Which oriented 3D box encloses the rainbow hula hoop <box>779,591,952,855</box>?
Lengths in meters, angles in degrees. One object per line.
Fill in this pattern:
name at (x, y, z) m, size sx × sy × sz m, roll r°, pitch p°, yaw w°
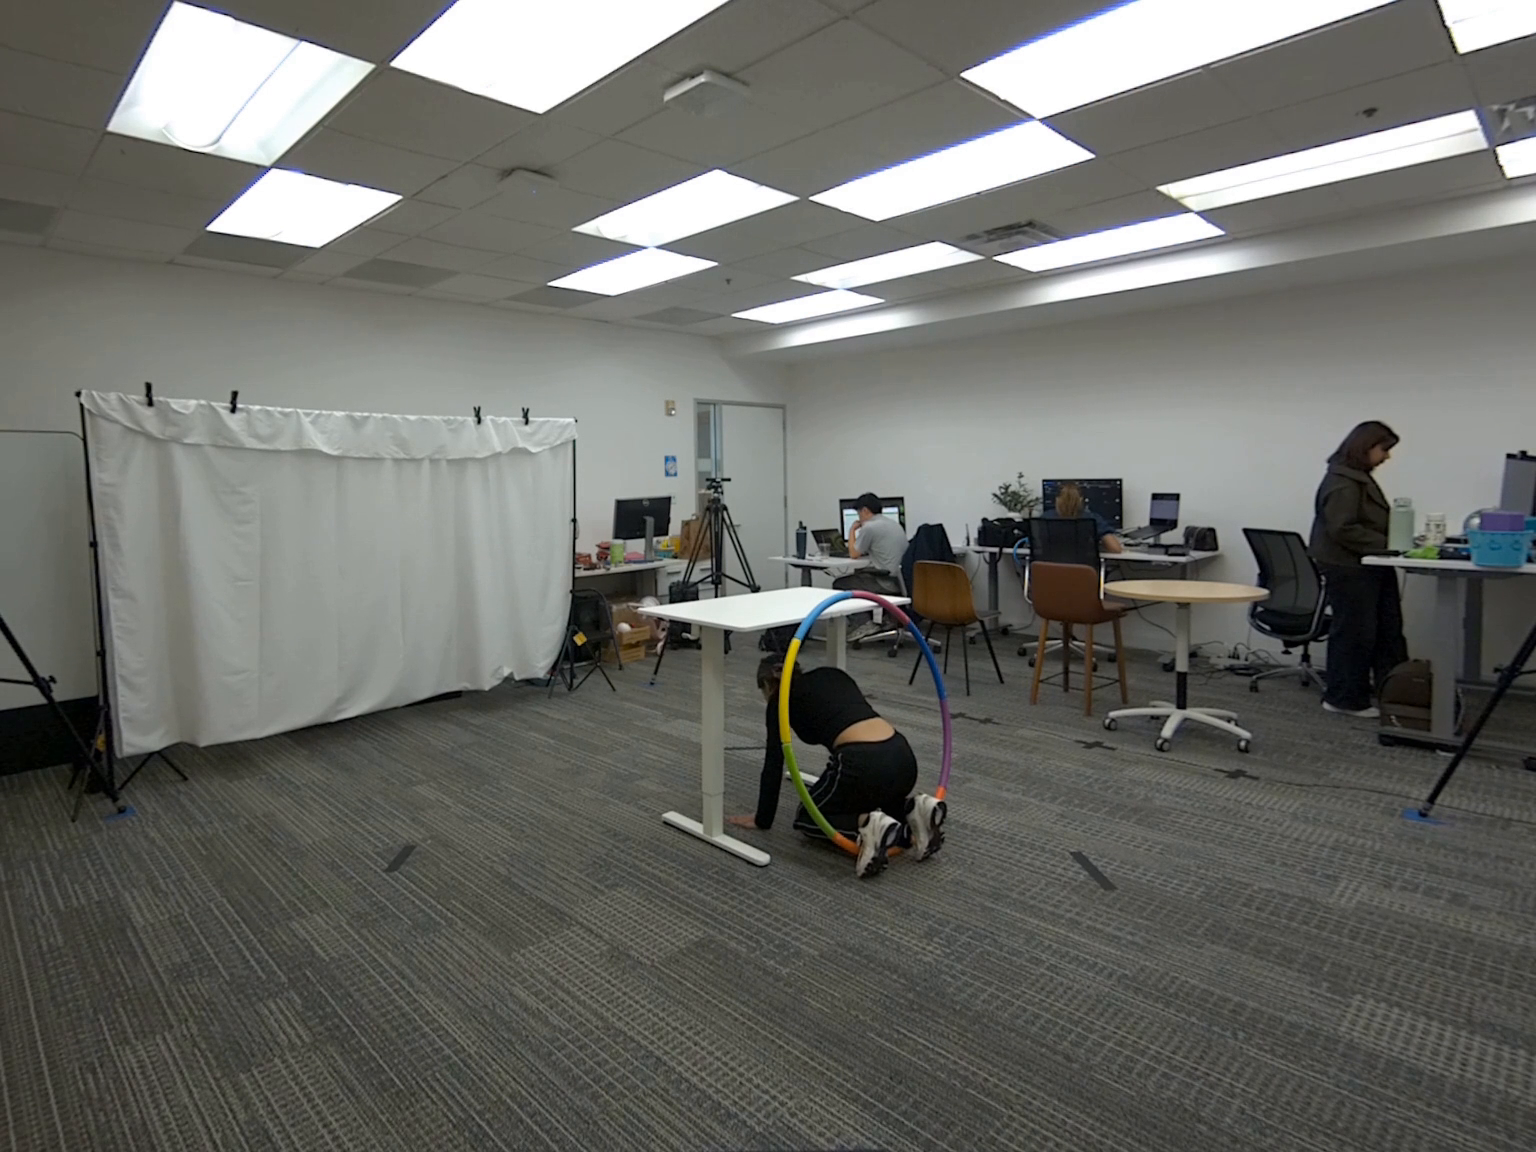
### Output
rainbow hula hoop at (0.402, 0.548, 3.244) m, size 0.953 × 0.986 × 0.036 m, roll -6°, pitch -9°, yaw -44°
